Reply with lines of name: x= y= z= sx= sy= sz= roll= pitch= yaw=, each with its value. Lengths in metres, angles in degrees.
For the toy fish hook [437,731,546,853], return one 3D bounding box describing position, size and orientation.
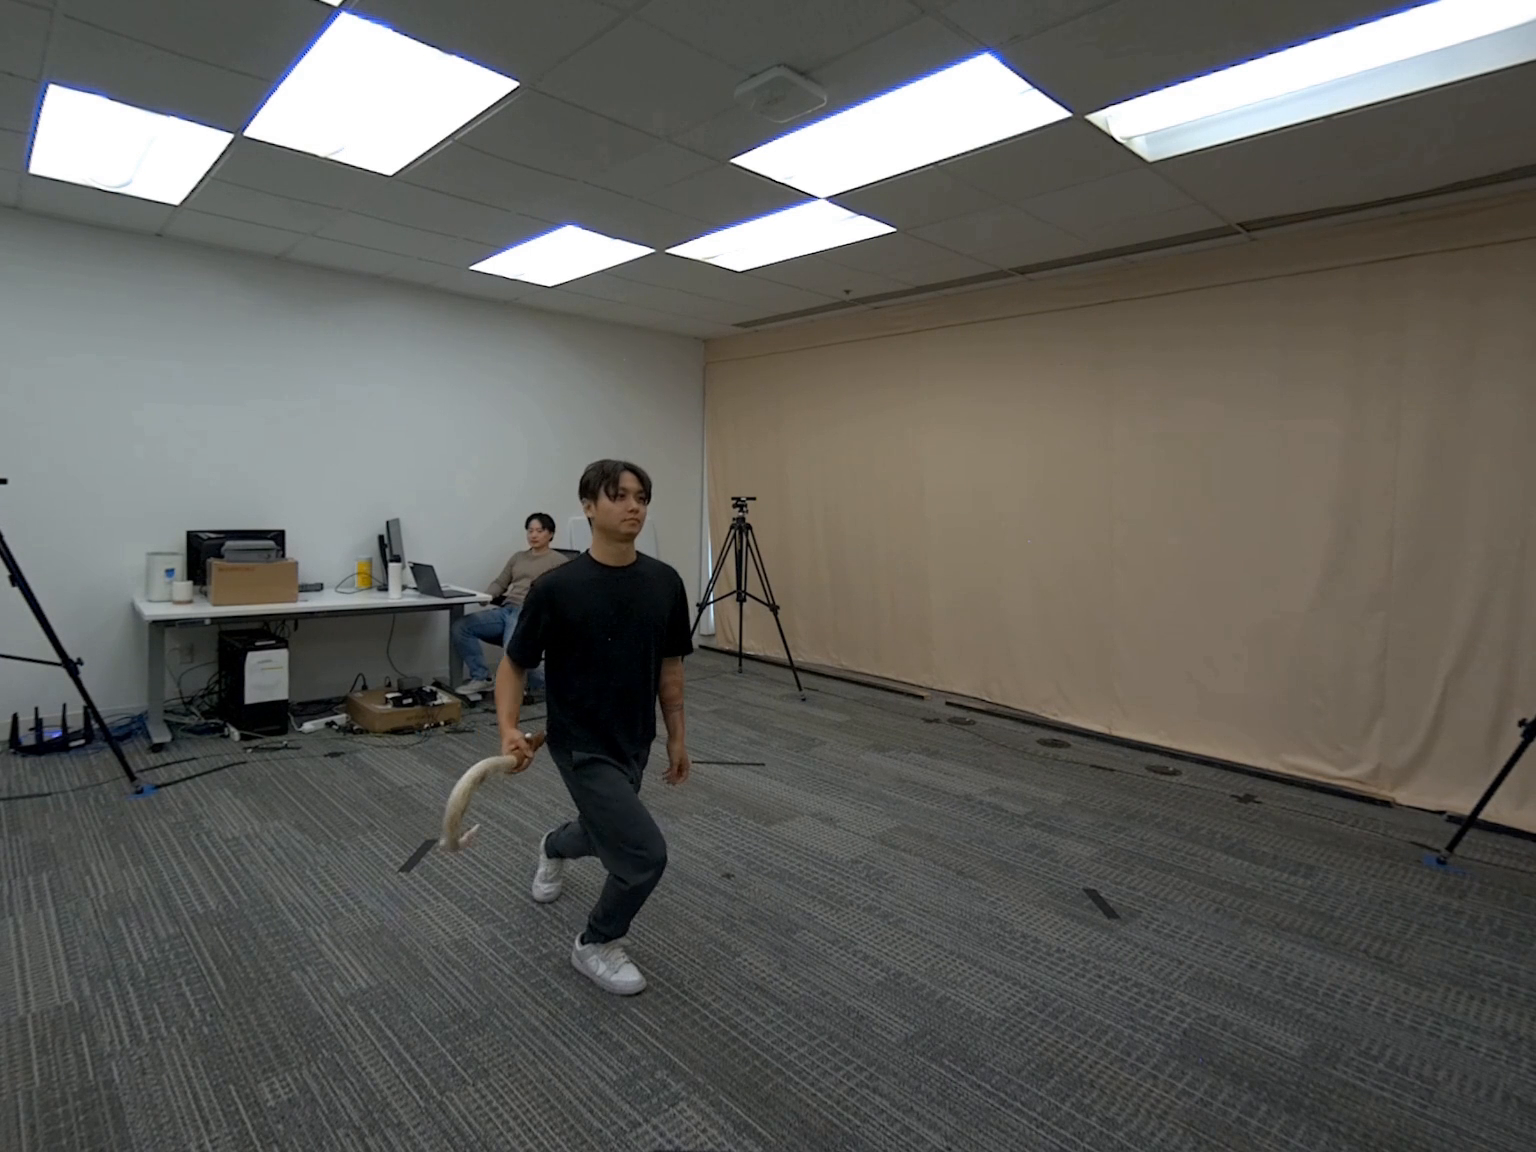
toy fish hook: x=-0.663 y=0.523 z=2.101 sx=0.049 sy=0.224 sz=0.503 roll=20 pitch=9 yaw=8
